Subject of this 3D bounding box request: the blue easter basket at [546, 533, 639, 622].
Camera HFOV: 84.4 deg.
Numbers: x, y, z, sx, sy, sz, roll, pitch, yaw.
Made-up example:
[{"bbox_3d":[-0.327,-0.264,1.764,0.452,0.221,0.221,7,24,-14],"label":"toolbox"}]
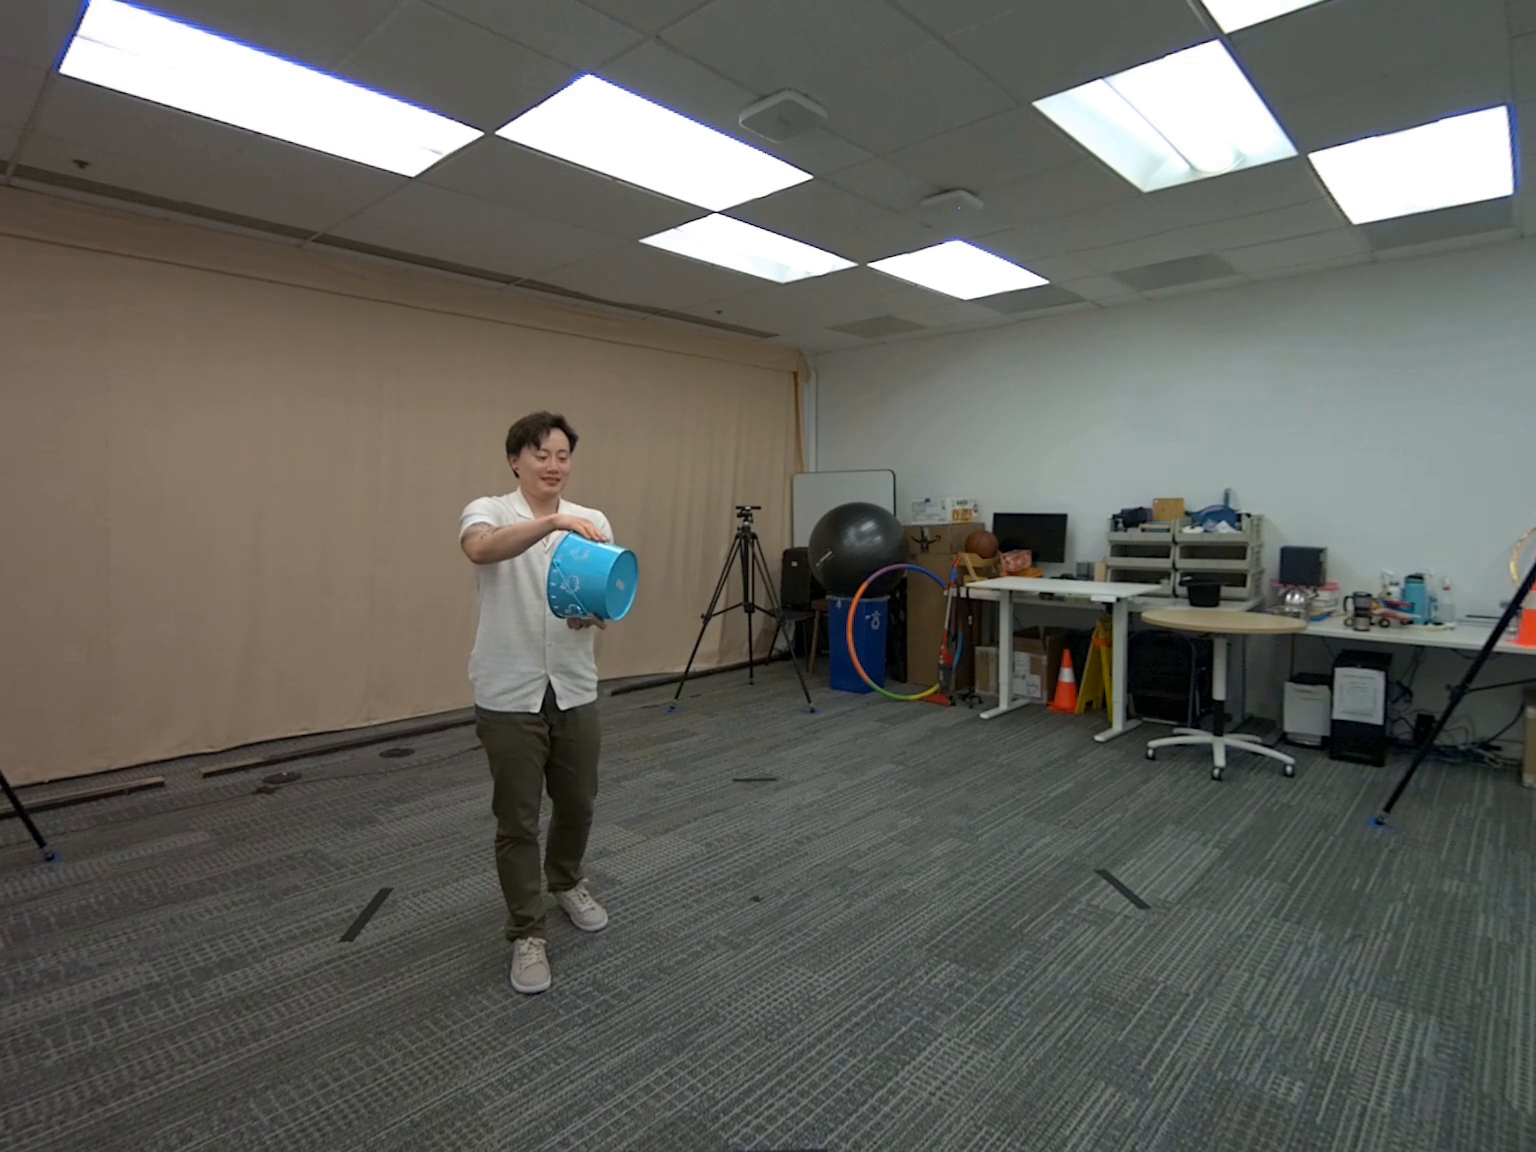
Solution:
[{"bbox_3d":[-0.452,0.013,2.157,0.159,0.243,0.239,8,6,18],"label":"blue easter basket"}]
